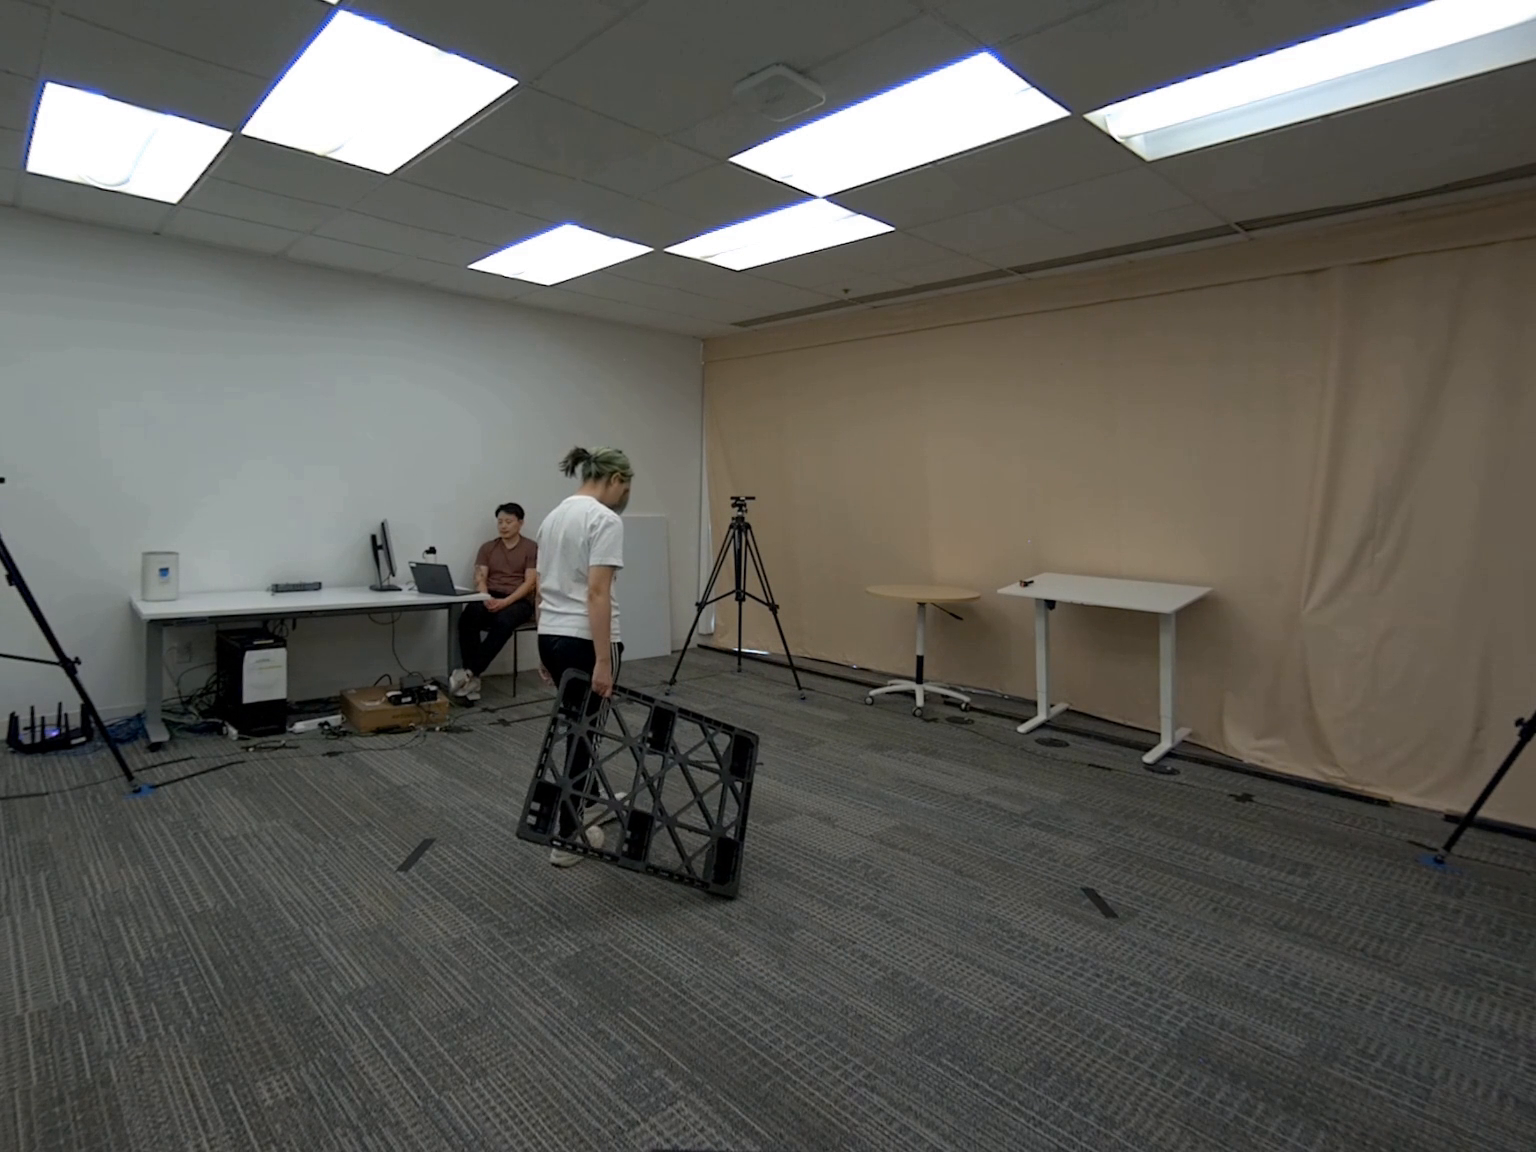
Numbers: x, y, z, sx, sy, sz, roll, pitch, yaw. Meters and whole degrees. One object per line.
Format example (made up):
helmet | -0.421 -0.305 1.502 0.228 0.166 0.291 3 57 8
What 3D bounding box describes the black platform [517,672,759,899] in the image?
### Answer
black platform | -0.452 0.747 2.995 0.791 0.614 0.143 22 -34 -18
